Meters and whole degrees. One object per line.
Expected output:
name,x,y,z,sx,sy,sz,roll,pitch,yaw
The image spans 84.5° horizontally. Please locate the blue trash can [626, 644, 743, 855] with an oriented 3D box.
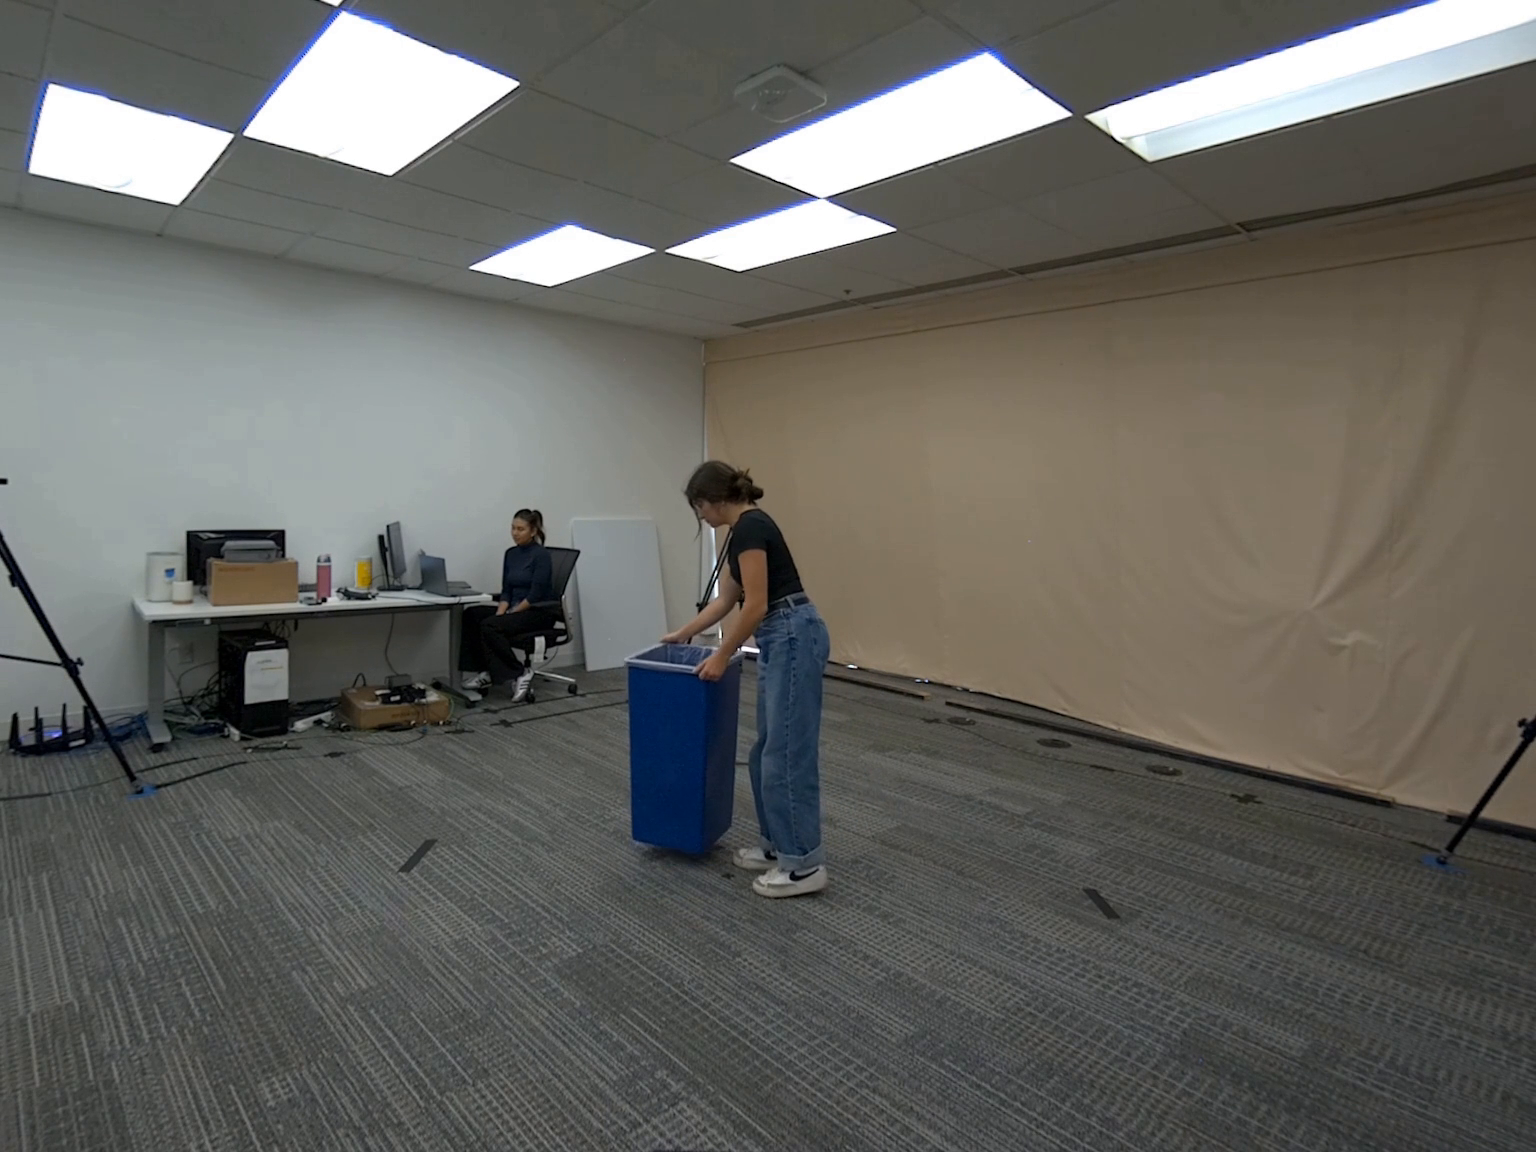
blue trash can,-0.333,0.660,3.275,0.385,0.711,0.368,4,5,22
